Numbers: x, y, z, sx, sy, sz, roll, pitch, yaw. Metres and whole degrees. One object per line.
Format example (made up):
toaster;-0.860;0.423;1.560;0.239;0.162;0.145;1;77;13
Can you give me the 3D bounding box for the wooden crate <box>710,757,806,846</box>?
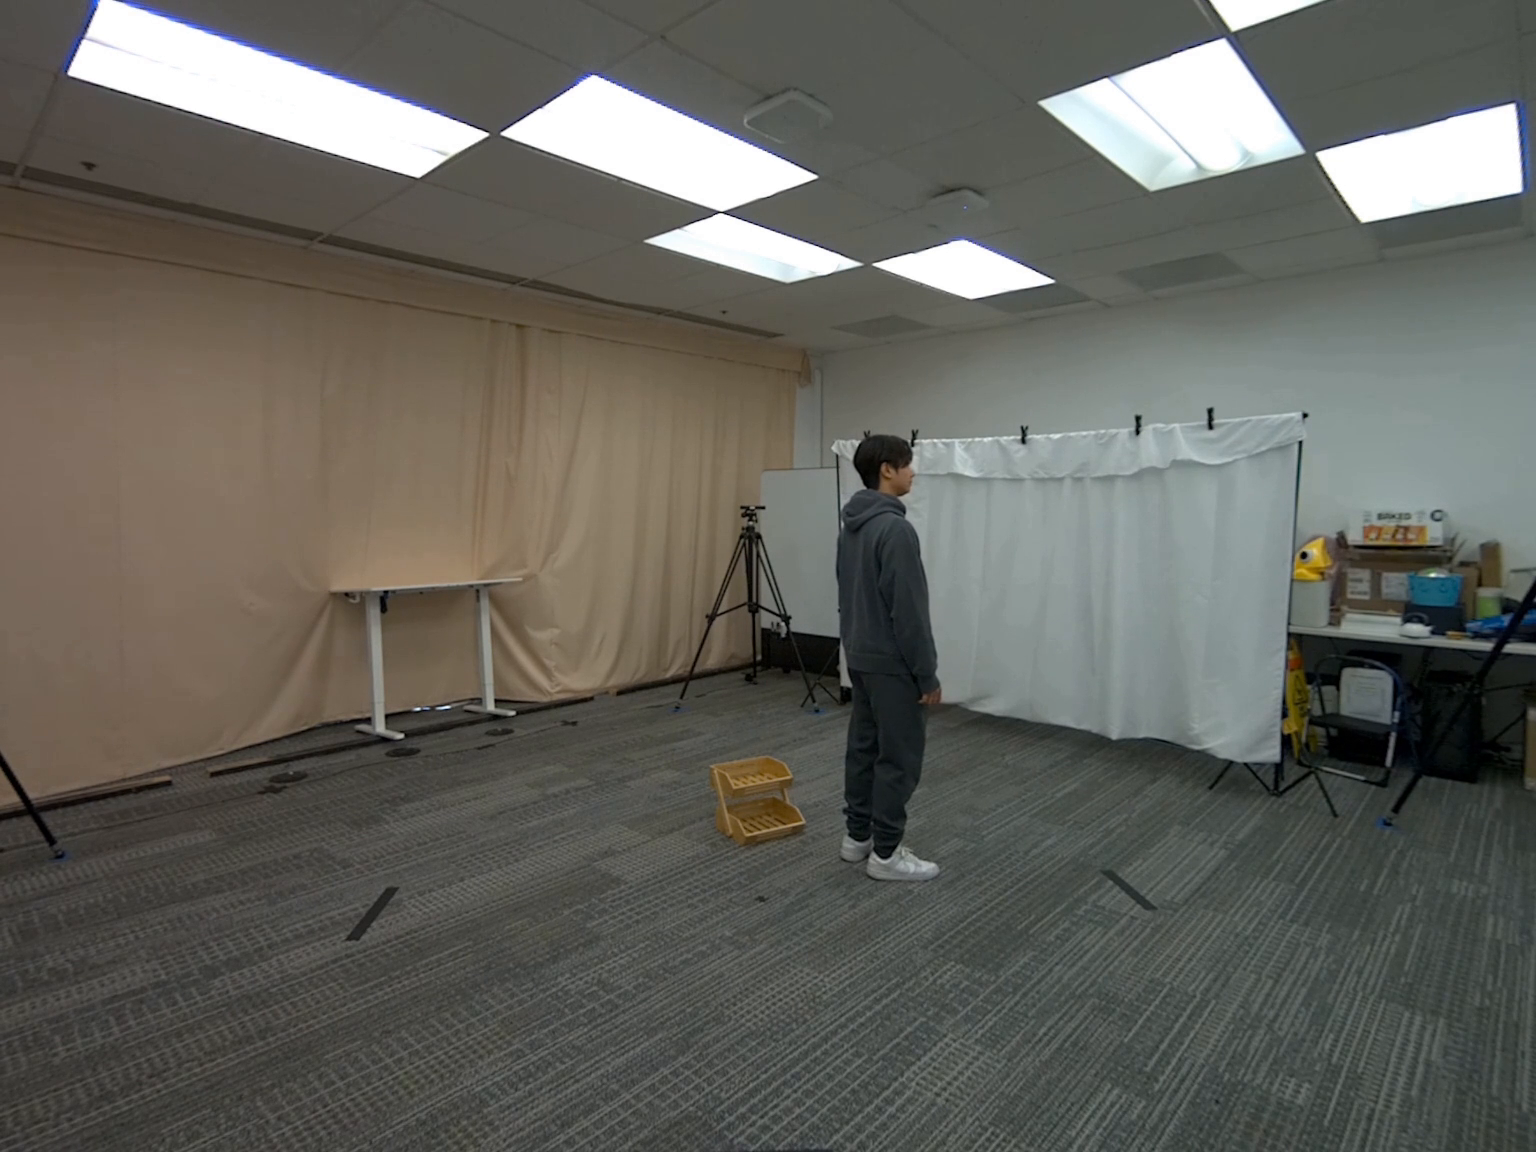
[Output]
wooden crate;-0.044;0.956;3.630;0.315;0.273;0.311;-3;4;-31
